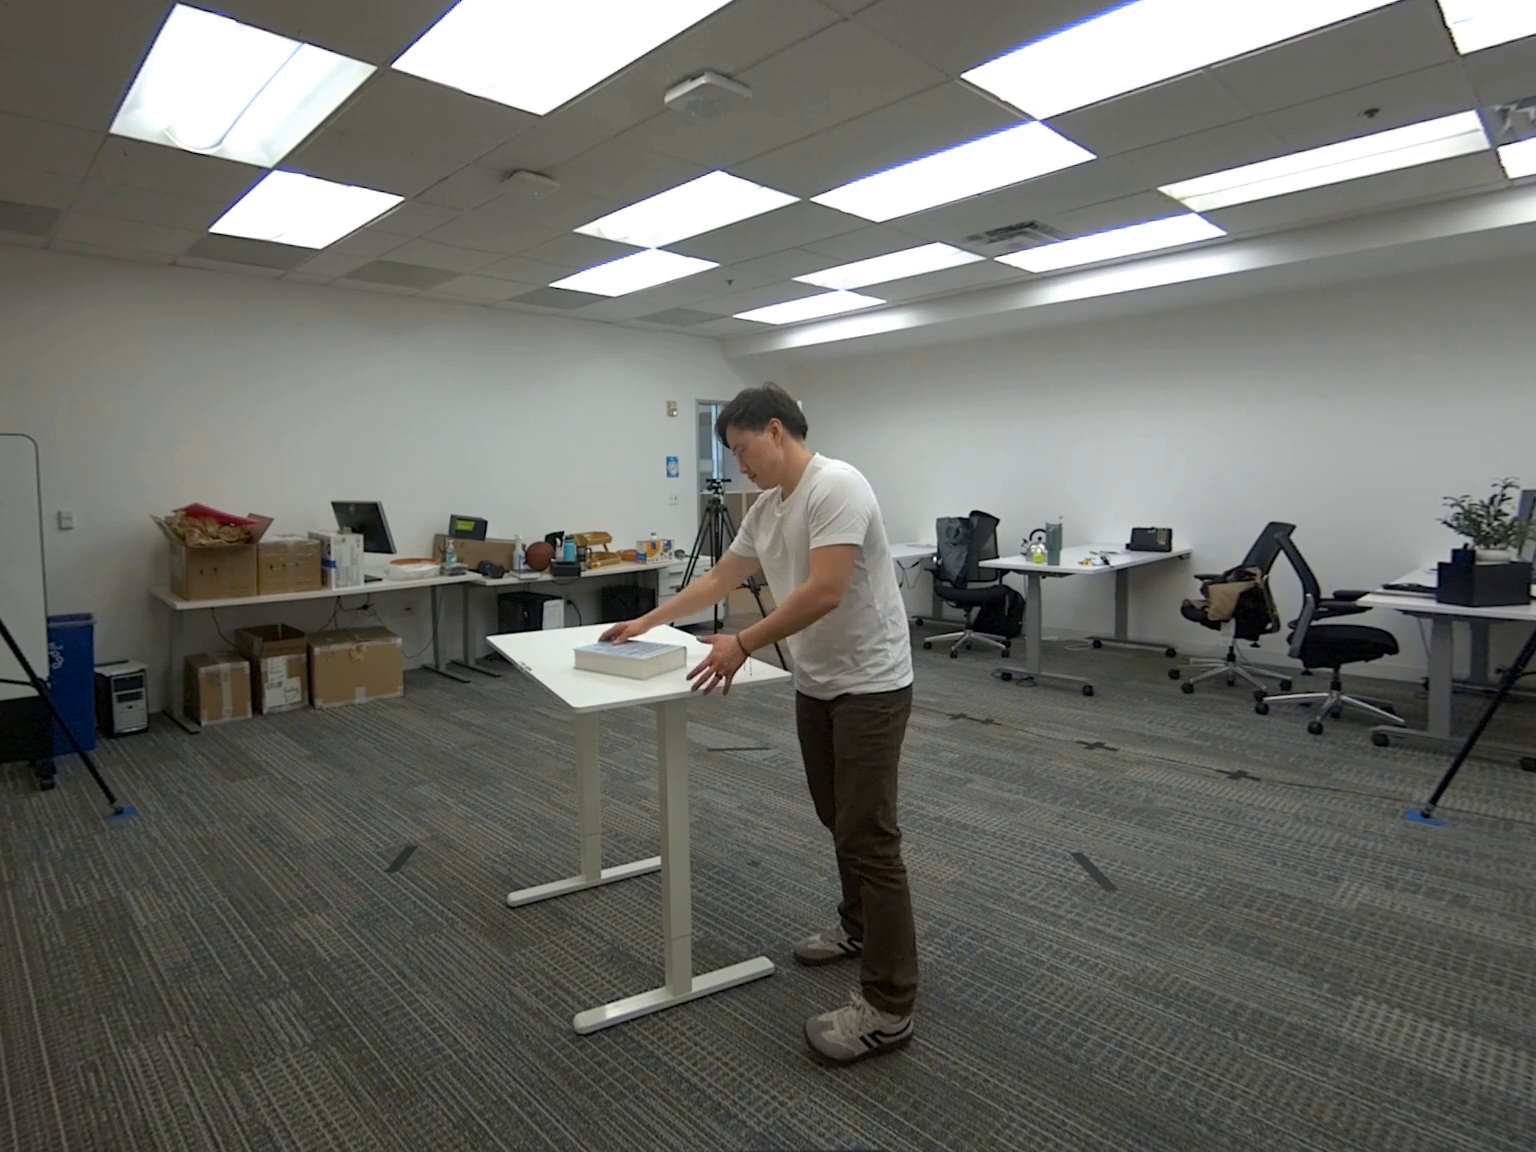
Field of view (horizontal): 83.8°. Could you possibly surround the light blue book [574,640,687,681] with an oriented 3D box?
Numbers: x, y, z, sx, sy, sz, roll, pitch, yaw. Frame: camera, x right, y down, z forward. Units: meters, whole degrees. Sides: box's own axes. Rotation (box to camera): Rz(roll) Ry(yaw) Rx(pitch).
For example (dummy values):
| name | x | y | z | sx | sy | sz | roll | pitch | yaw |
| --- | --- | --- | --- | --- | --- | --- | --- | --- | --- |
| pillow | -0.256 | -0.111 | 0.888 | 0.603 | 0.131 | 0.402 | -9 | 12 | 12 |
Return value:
| name | x | y | z | sx | sy | sz | roll | pitch | yaw |
| --- | --- | --- | --- | --- | --- | --- | --- | --- | --- |
| light blue book | -0.365 | 0.231 | 2.357 | 0.268 | 0.059 | 0.187 | 3 | 6 | 33 |
